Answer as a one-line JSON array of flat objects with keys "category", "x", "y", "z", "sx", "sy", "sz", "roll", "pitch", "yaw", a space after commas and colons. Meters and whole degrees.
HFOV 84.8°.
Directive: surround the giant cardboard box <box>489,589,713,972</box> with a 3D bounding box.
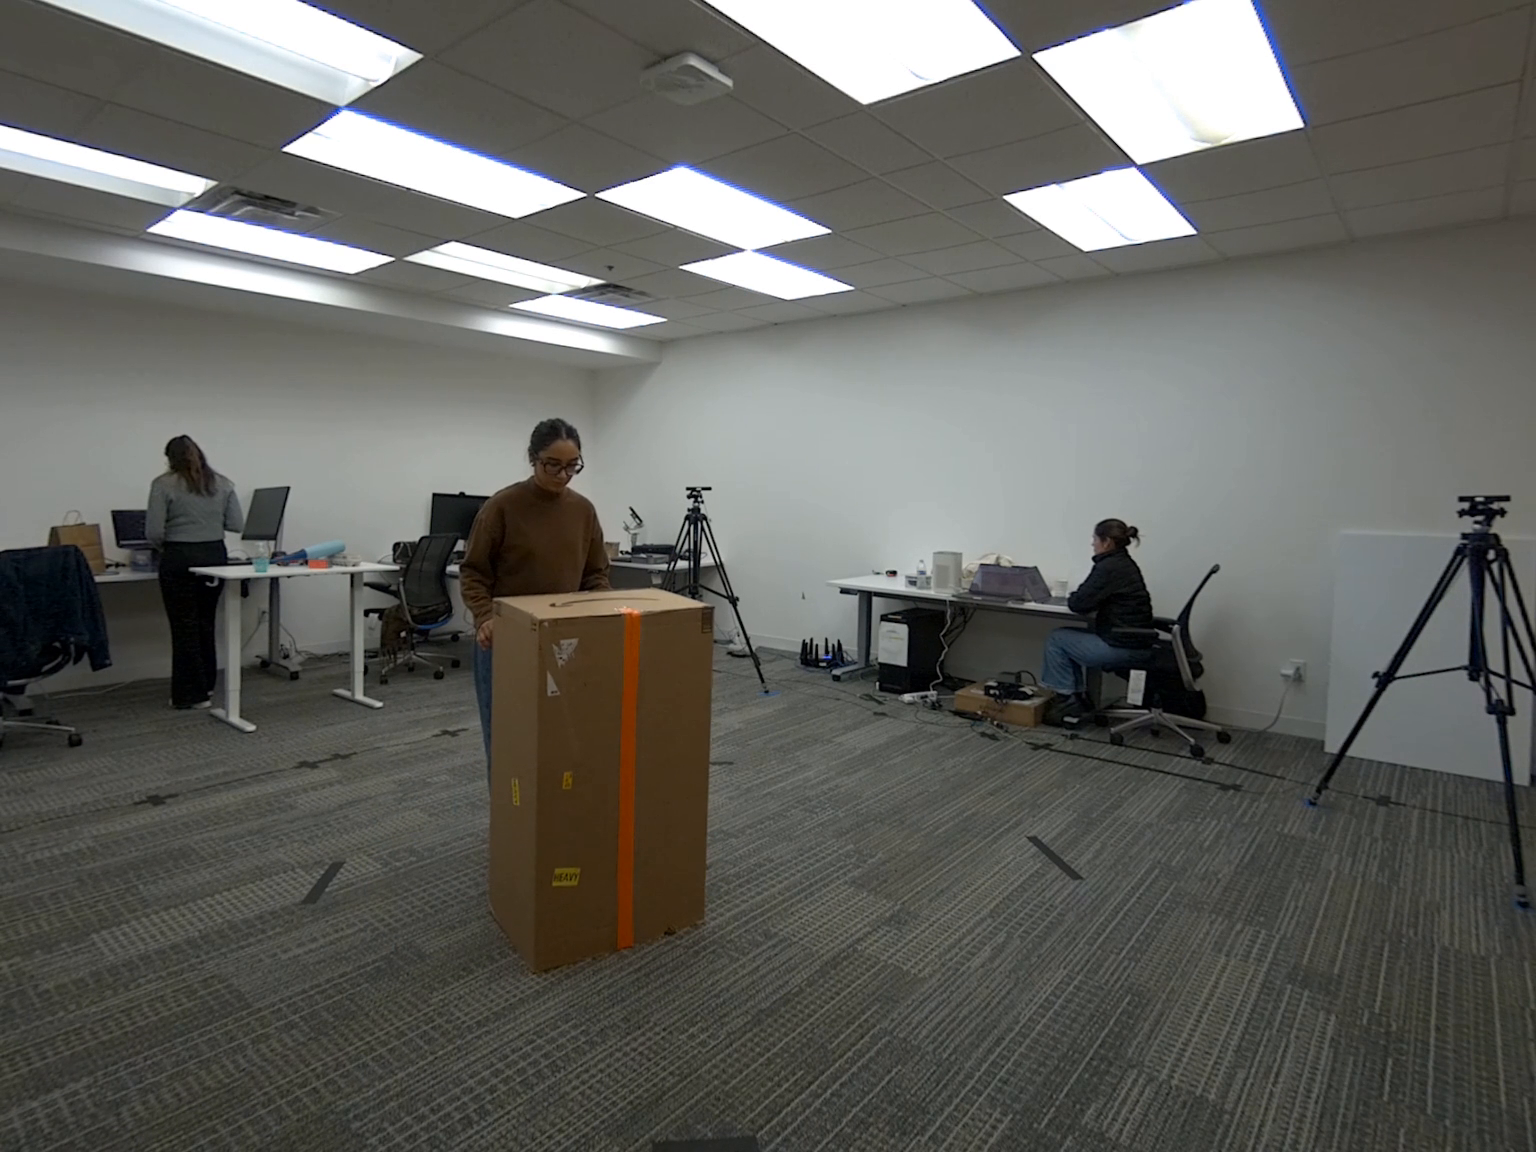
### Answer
[{"category": "giant cardboard box", "x": -0.542, "y": 0.589, "z": 2.698, "sx": 0.561, "sy": 1.022, "sz": 0.440, "roll": -1, "pitch": 5, "yaw": -35}]
